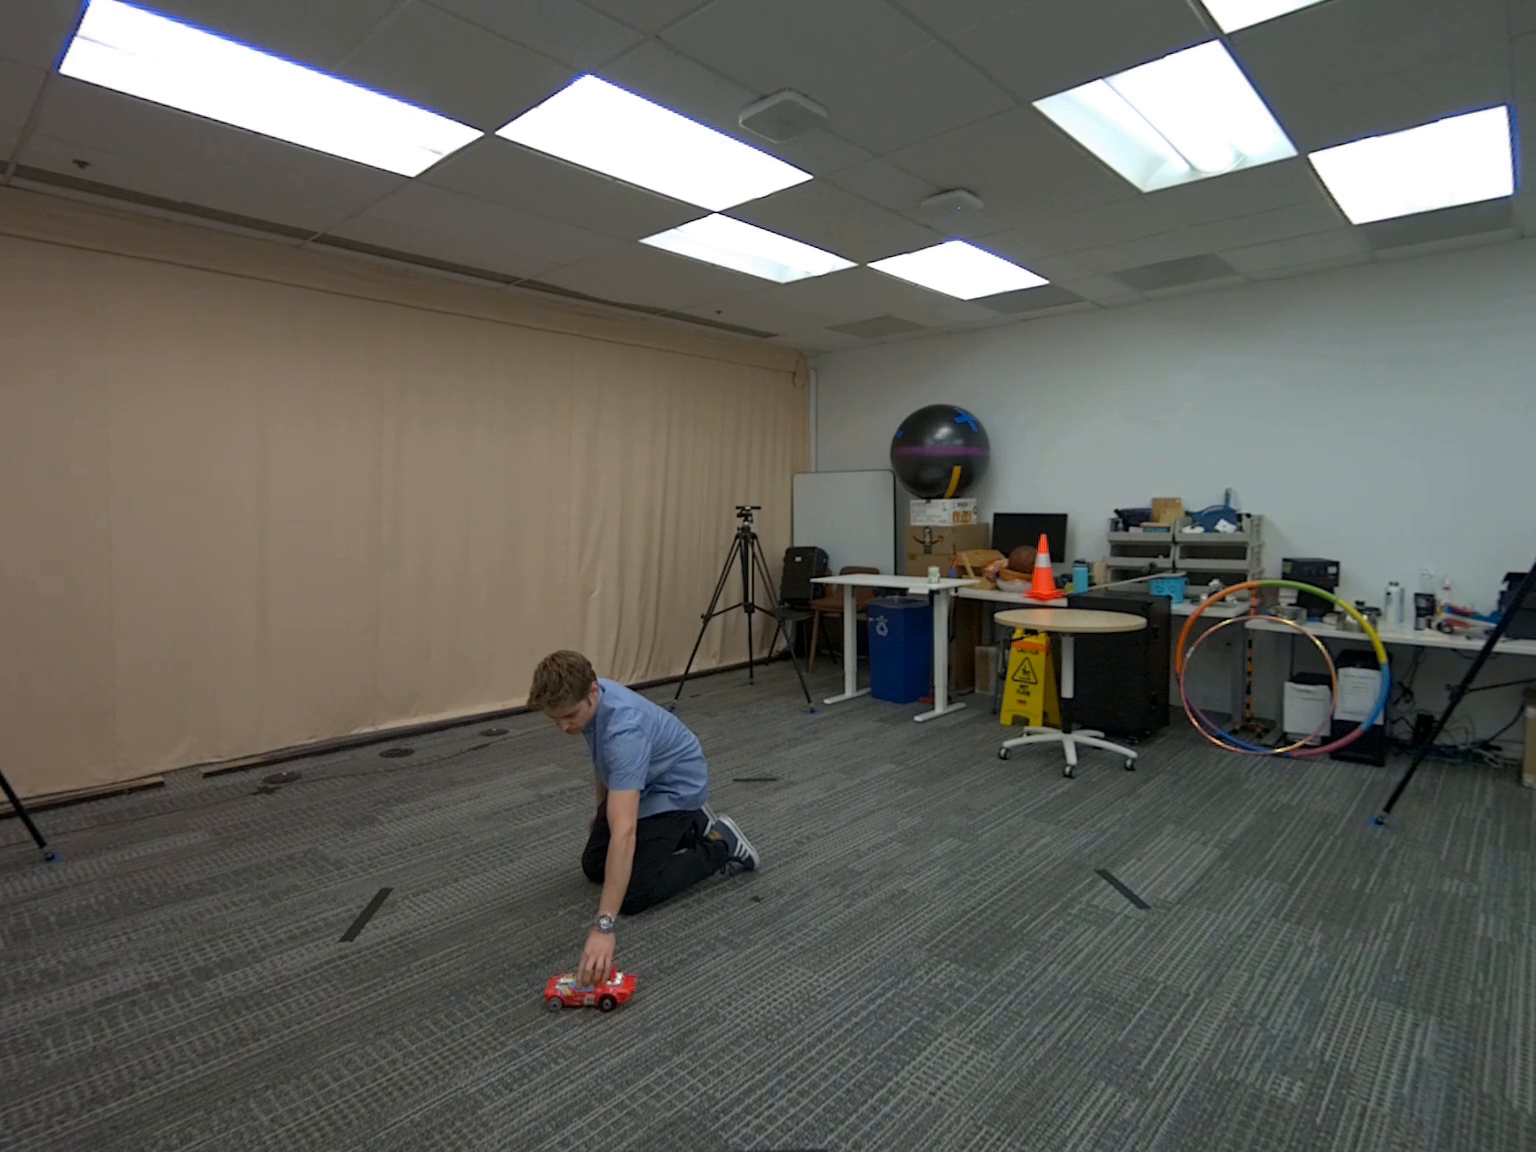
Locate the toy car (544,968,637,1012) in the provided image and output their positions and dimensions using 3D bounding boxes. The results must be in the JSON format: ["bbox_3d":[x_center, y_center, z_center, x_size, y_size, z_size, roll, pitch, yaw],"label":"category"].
[{"bbox_3d":[-0.508,1.161,2.381,0.255,0.083,0.130,-11,4,2],"label":"toy car"}]
